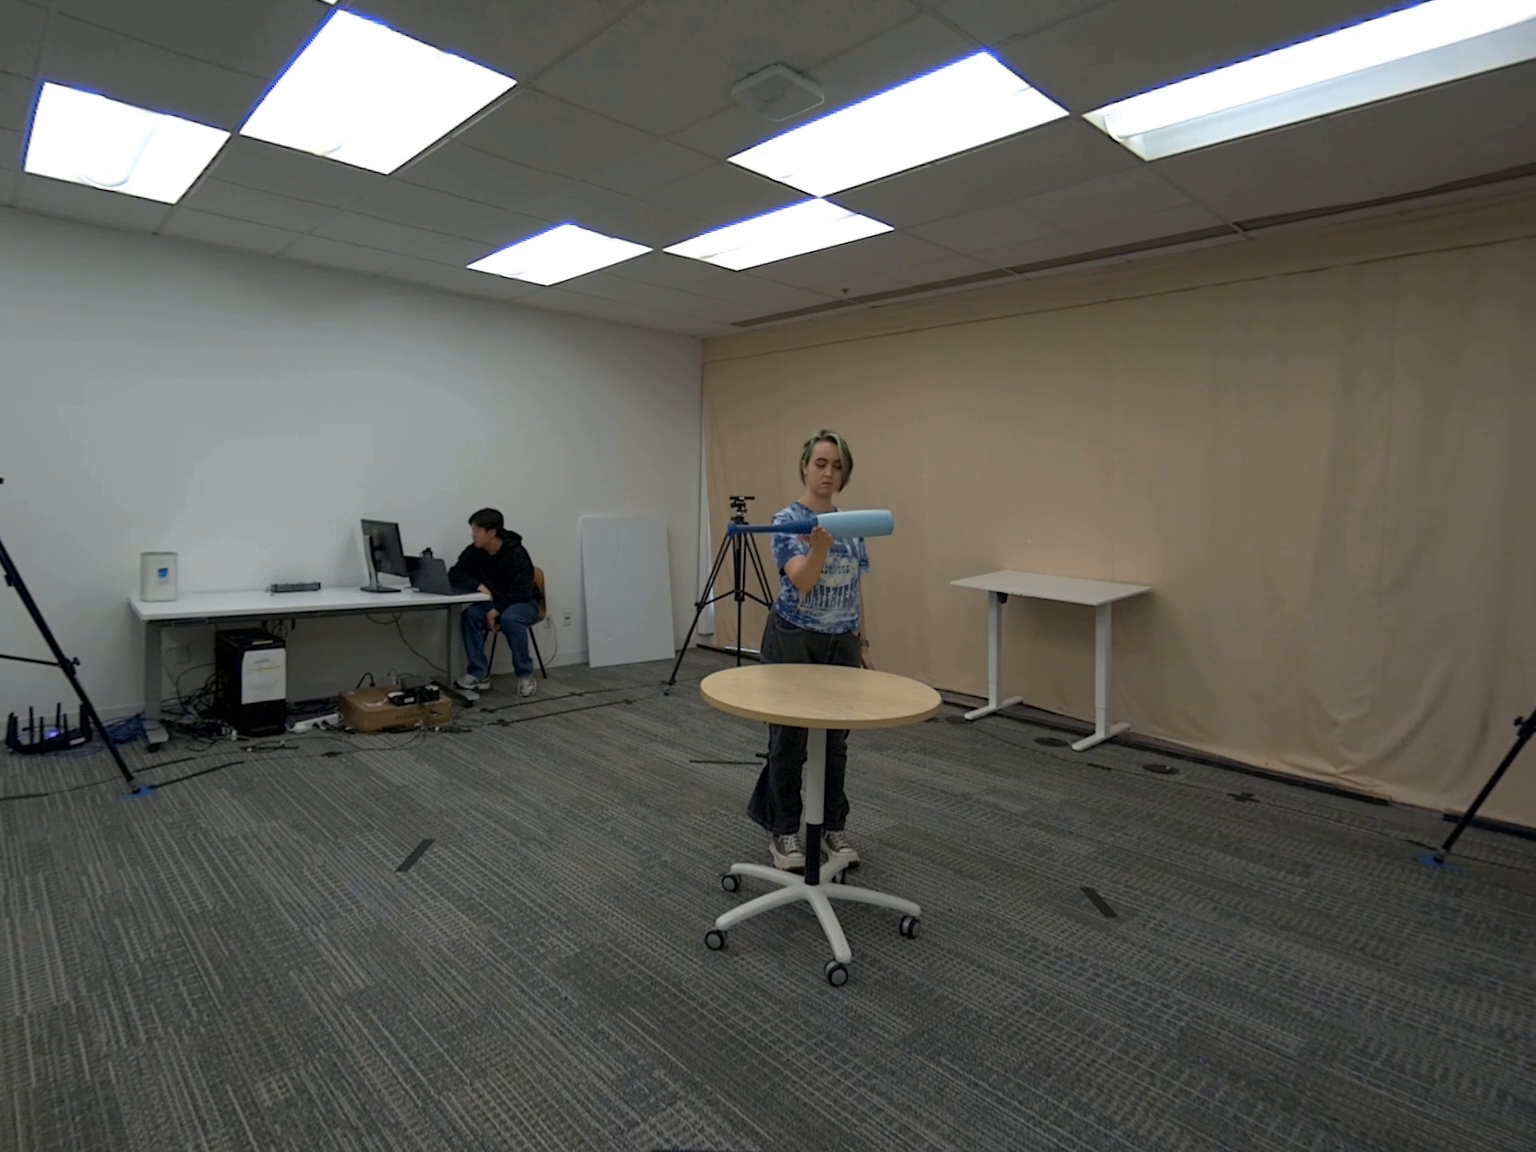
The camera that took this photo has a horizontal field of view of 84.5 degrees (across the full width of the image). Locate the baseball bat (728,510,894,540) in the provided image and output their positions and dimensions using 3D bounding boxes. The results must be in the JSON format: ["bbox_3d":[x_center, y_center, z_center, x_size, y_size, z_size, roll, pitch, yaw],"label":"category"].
[{"bbox_3d":[0.133,-0.156,2.726,0.540,0.089,0.090,-4,5,-6],"label":"baseball bat"}]
